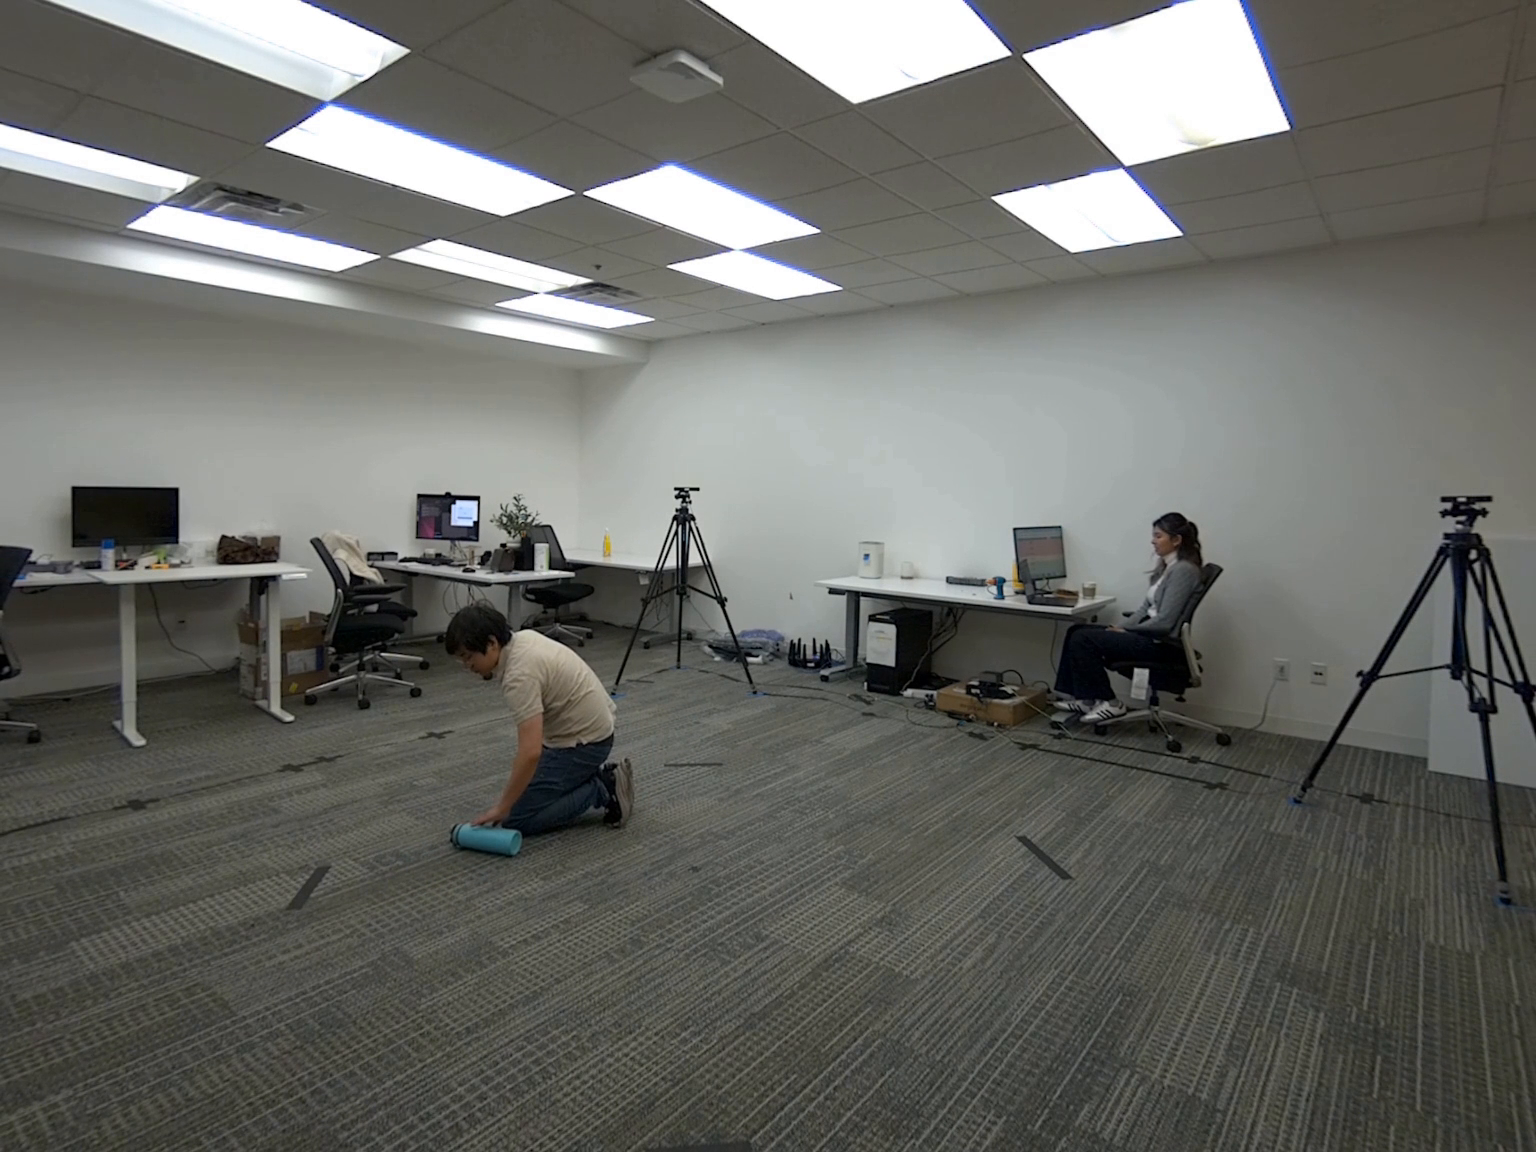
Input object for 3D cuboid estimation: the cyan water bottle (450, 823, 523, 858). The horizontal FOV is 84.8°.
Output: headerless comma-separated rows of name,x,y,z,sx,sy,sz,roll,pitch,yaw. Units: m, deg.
cyan water bottle,-1.096,0.995,3.229,0.288,0.092,0.091,1,4,15
